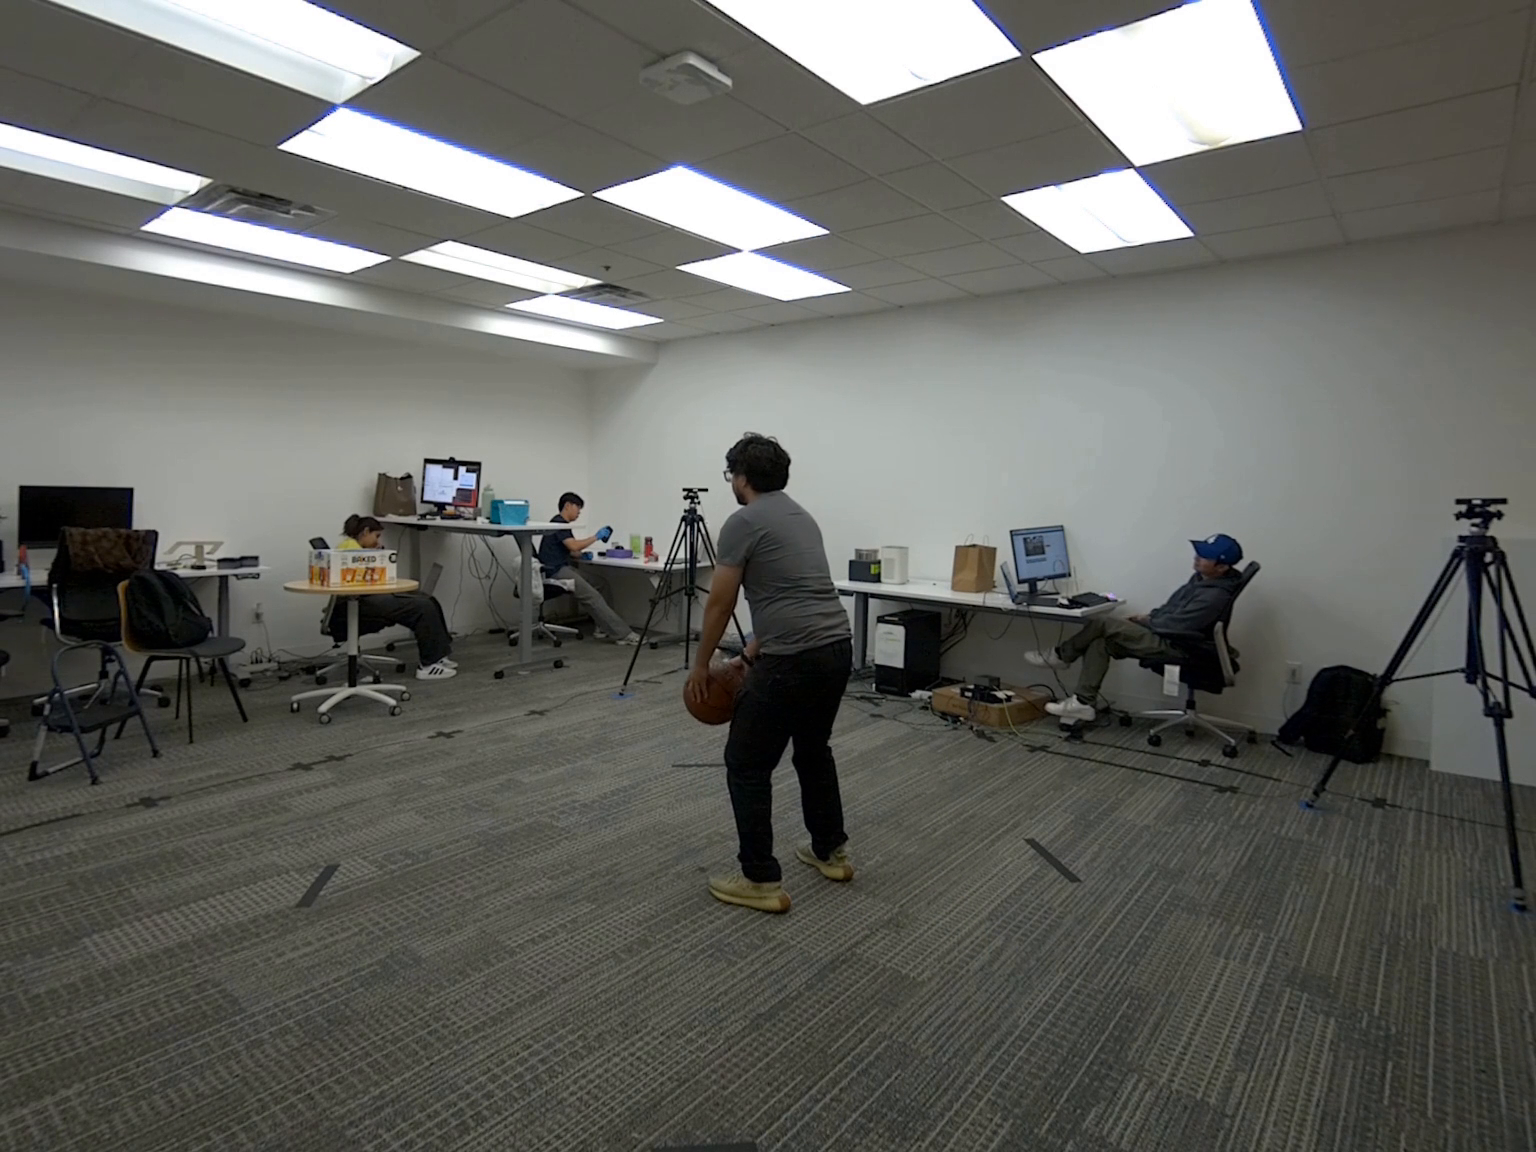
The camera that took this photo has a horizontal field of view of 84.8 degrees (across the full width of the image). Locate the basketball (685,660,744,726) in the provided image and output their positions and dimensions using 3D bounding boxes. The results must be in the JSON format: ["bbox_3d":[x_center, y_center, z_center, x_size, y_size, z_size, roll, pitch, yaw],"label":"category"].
[{"bbox_3d":[-0.207,0.434,3.213,0.235,0.235,0.237,1,4,-2],"label":"basketball"}]
